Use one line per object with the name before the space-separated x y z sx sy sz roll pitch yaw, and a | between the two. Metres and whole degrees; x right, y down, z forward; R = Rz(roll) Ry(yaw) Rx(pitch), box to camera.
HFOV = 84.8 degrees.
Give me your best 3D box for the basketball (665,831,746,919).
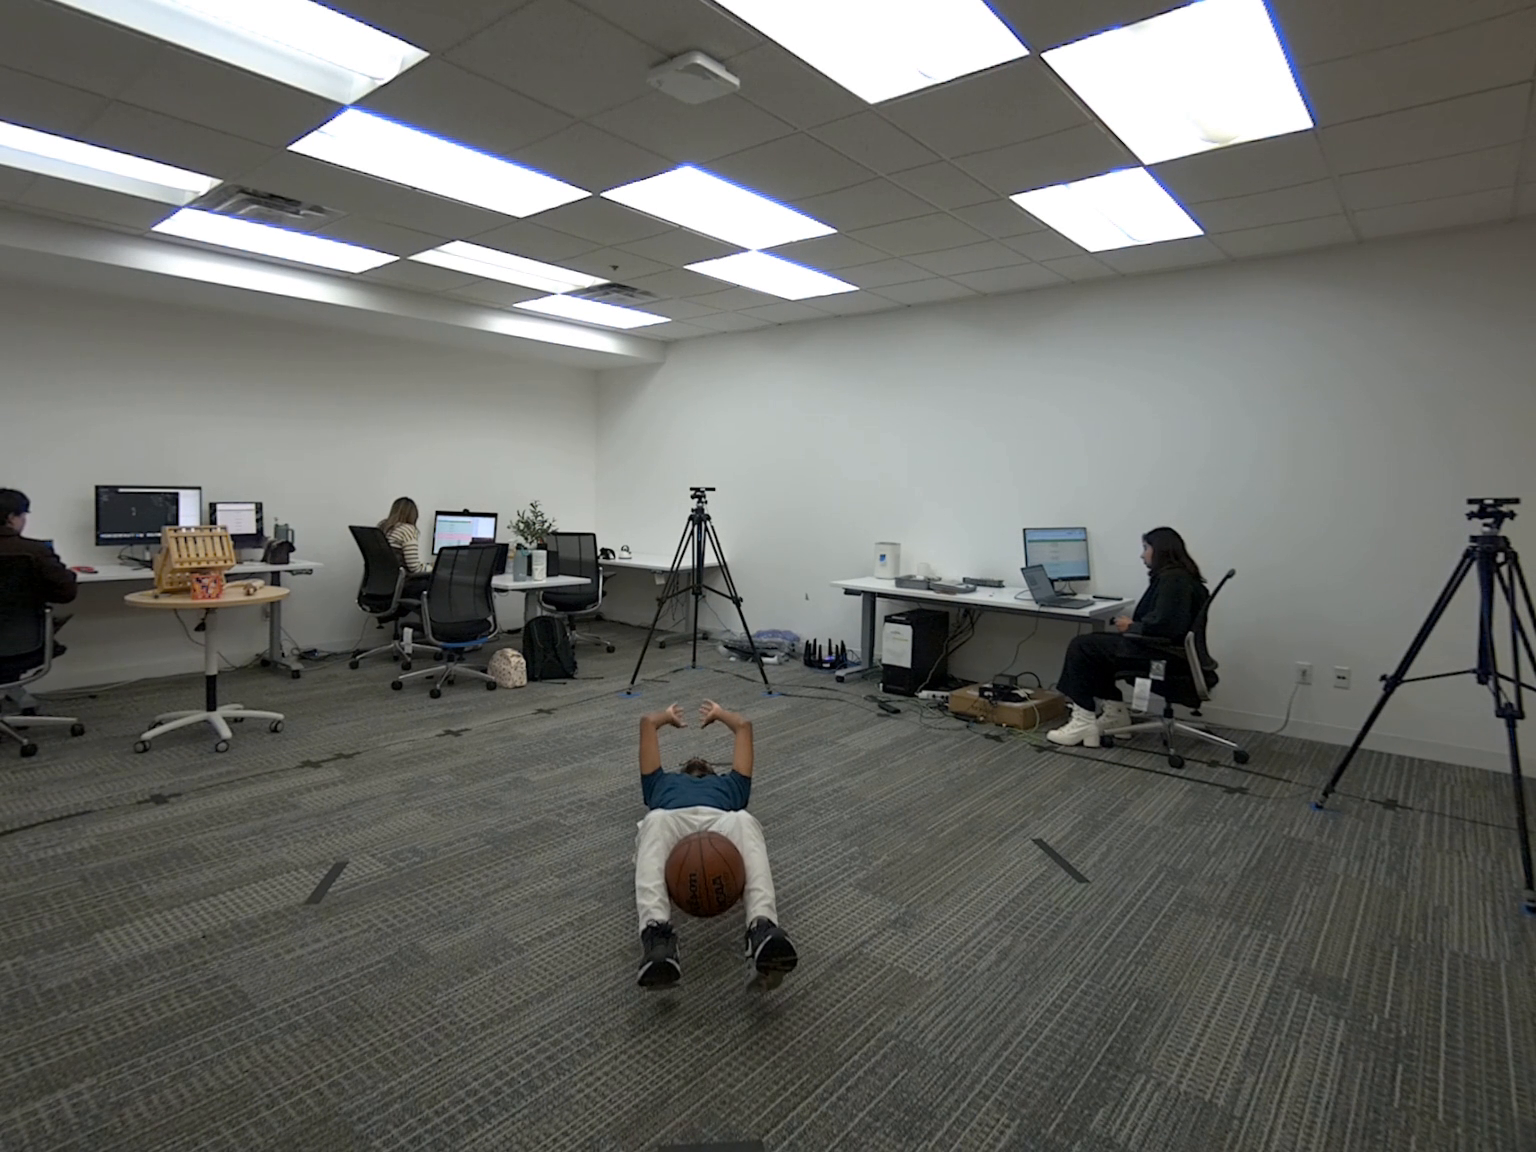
basketball | -0.191 0.865 2.508 0.235 0.235 0.237 1 4 -2
